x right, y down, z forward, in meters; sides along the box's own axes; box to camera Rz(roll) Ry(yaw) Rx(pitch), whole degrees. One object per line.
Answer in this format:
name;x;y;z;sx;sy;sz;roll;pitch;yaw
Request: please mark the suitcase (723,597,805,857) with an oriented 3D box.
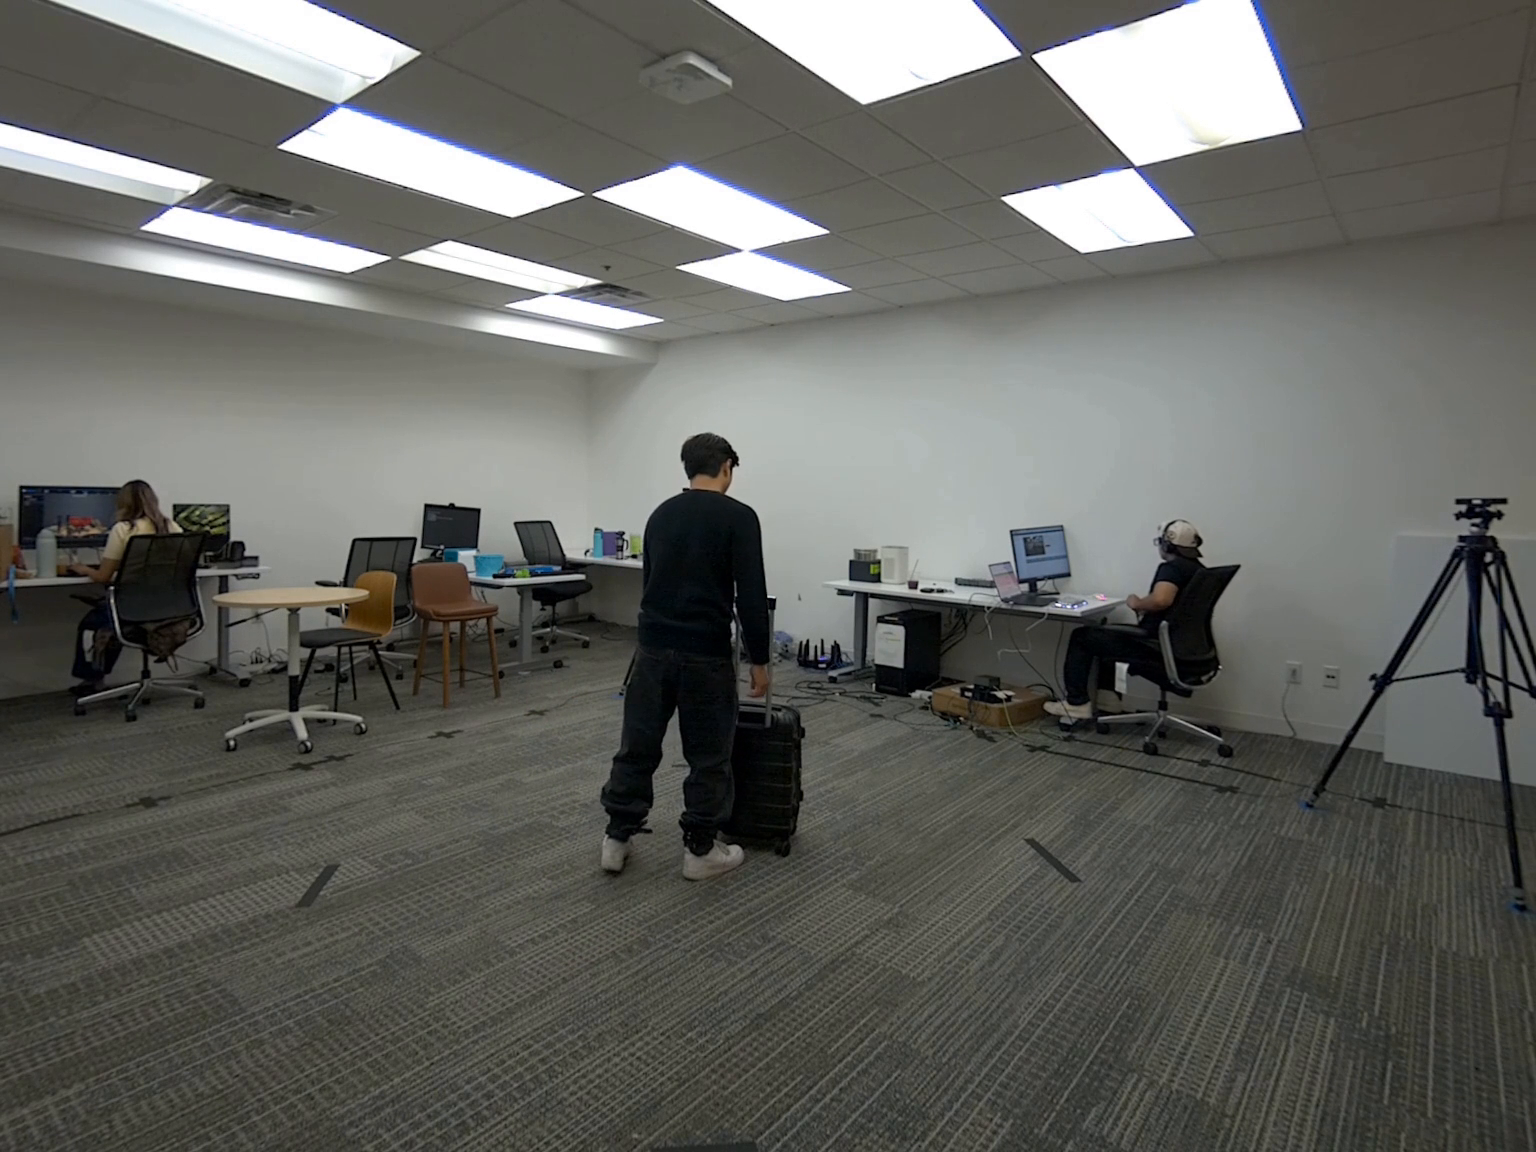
suitcase;-0.059;0.566;3.390;0.388;0.979;0.254;2;-1;9
